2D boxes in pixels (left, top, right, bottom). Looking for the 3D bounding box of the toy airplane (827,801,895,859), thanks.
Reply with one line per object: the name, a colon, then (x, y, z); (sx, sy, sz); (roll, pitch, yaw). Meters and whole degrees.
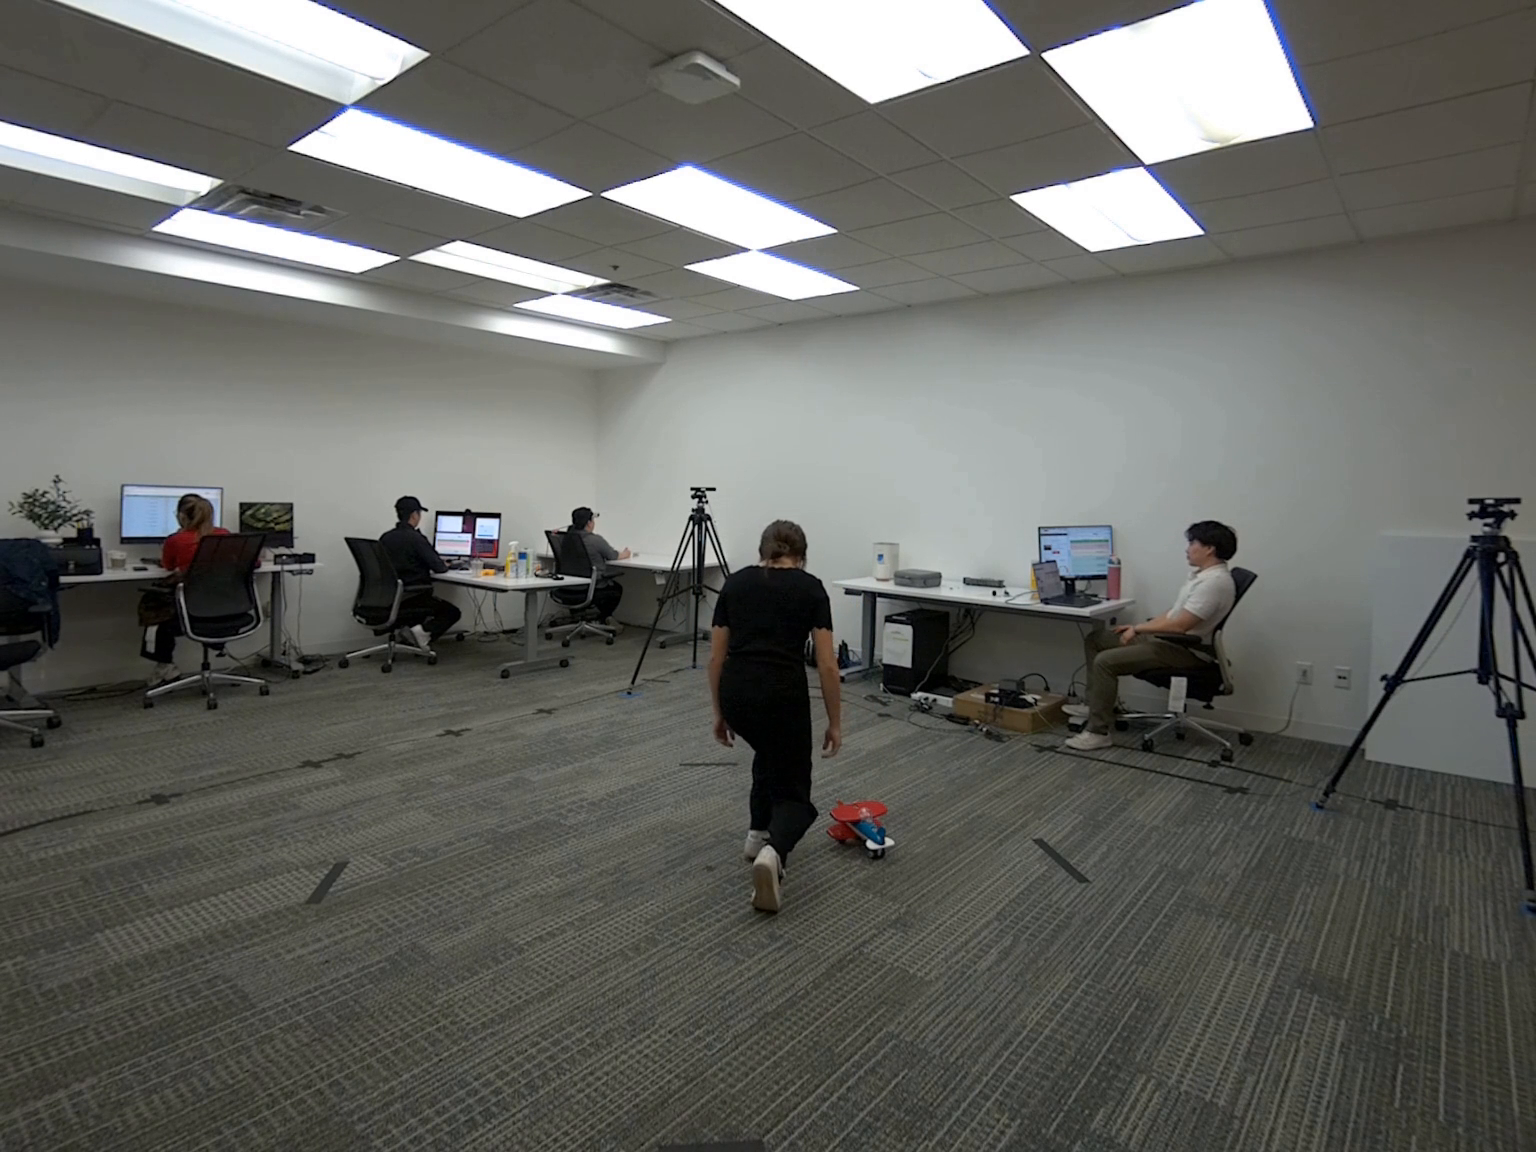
toy airplane: (0.376, 0.988, 3.327); (0.267, 0.156, 0.244); (4, 4, 32)
